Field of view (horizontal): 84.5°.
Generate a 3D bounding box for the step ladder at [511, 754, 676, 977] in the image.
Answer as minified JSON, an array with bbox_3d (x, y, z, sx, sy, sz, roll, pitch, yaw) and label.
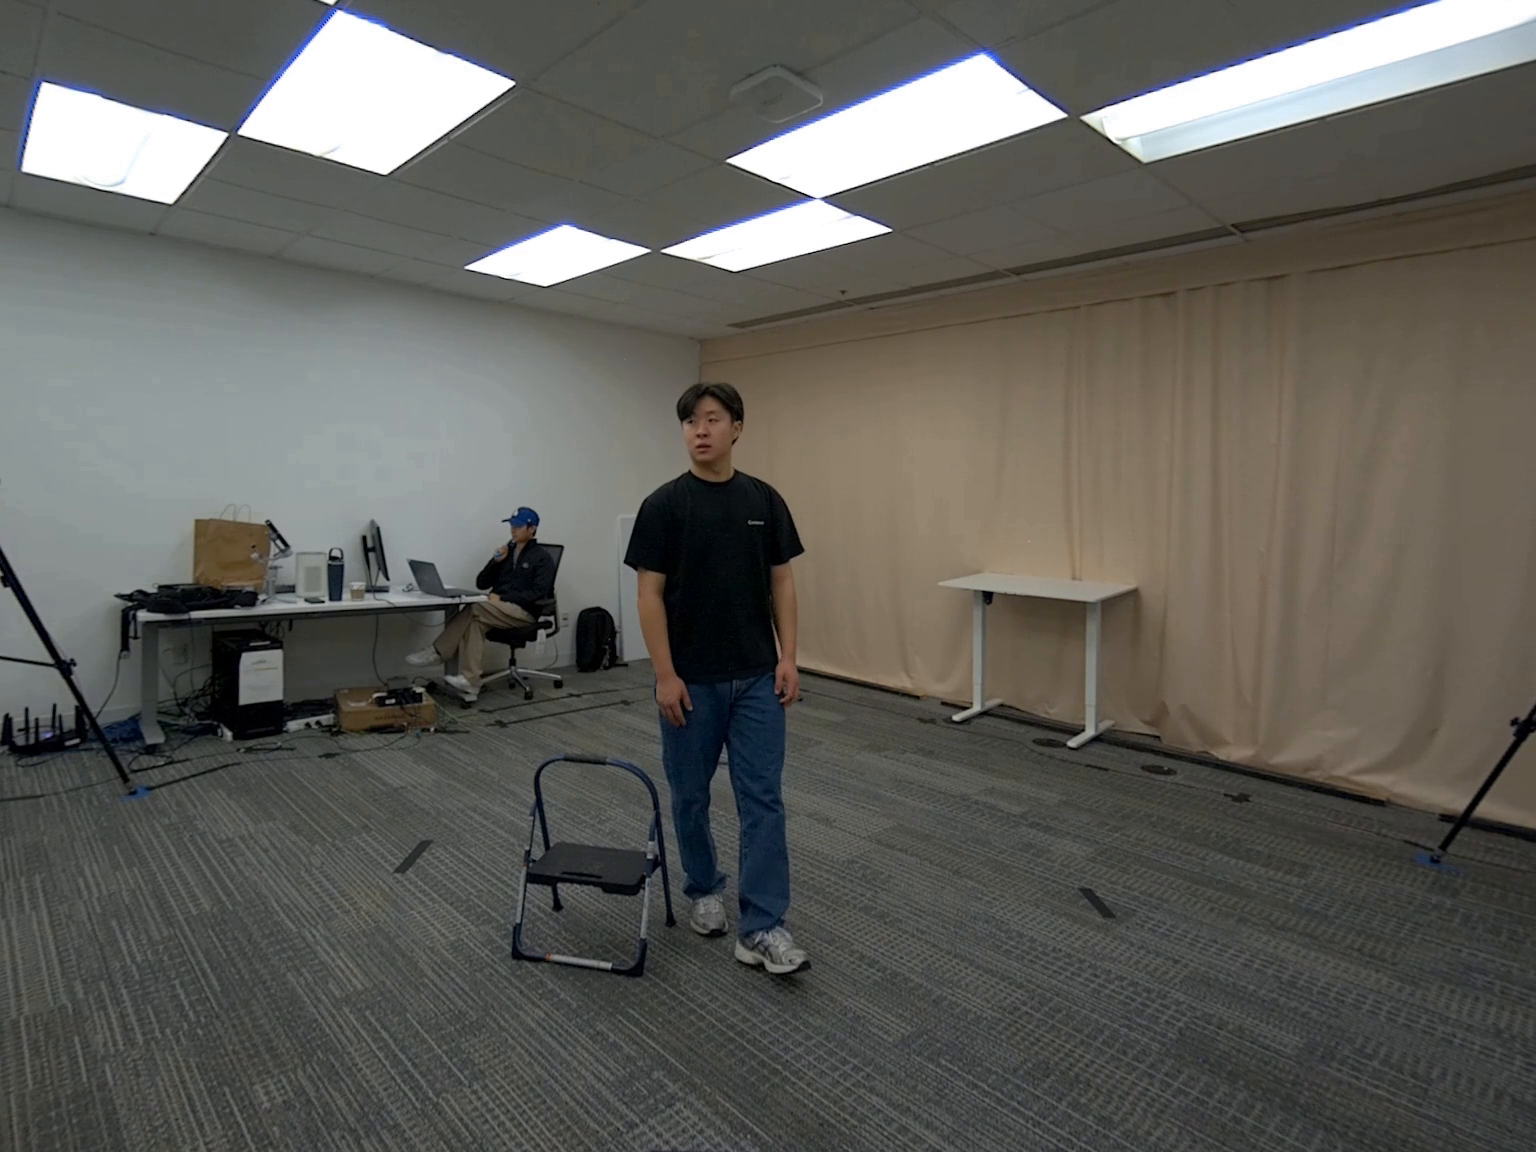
[{"bbox_3d":[-0.539,0.840,2.622,0.434,0.605,0.347,1,3,10],"label":"step ladder"}]
